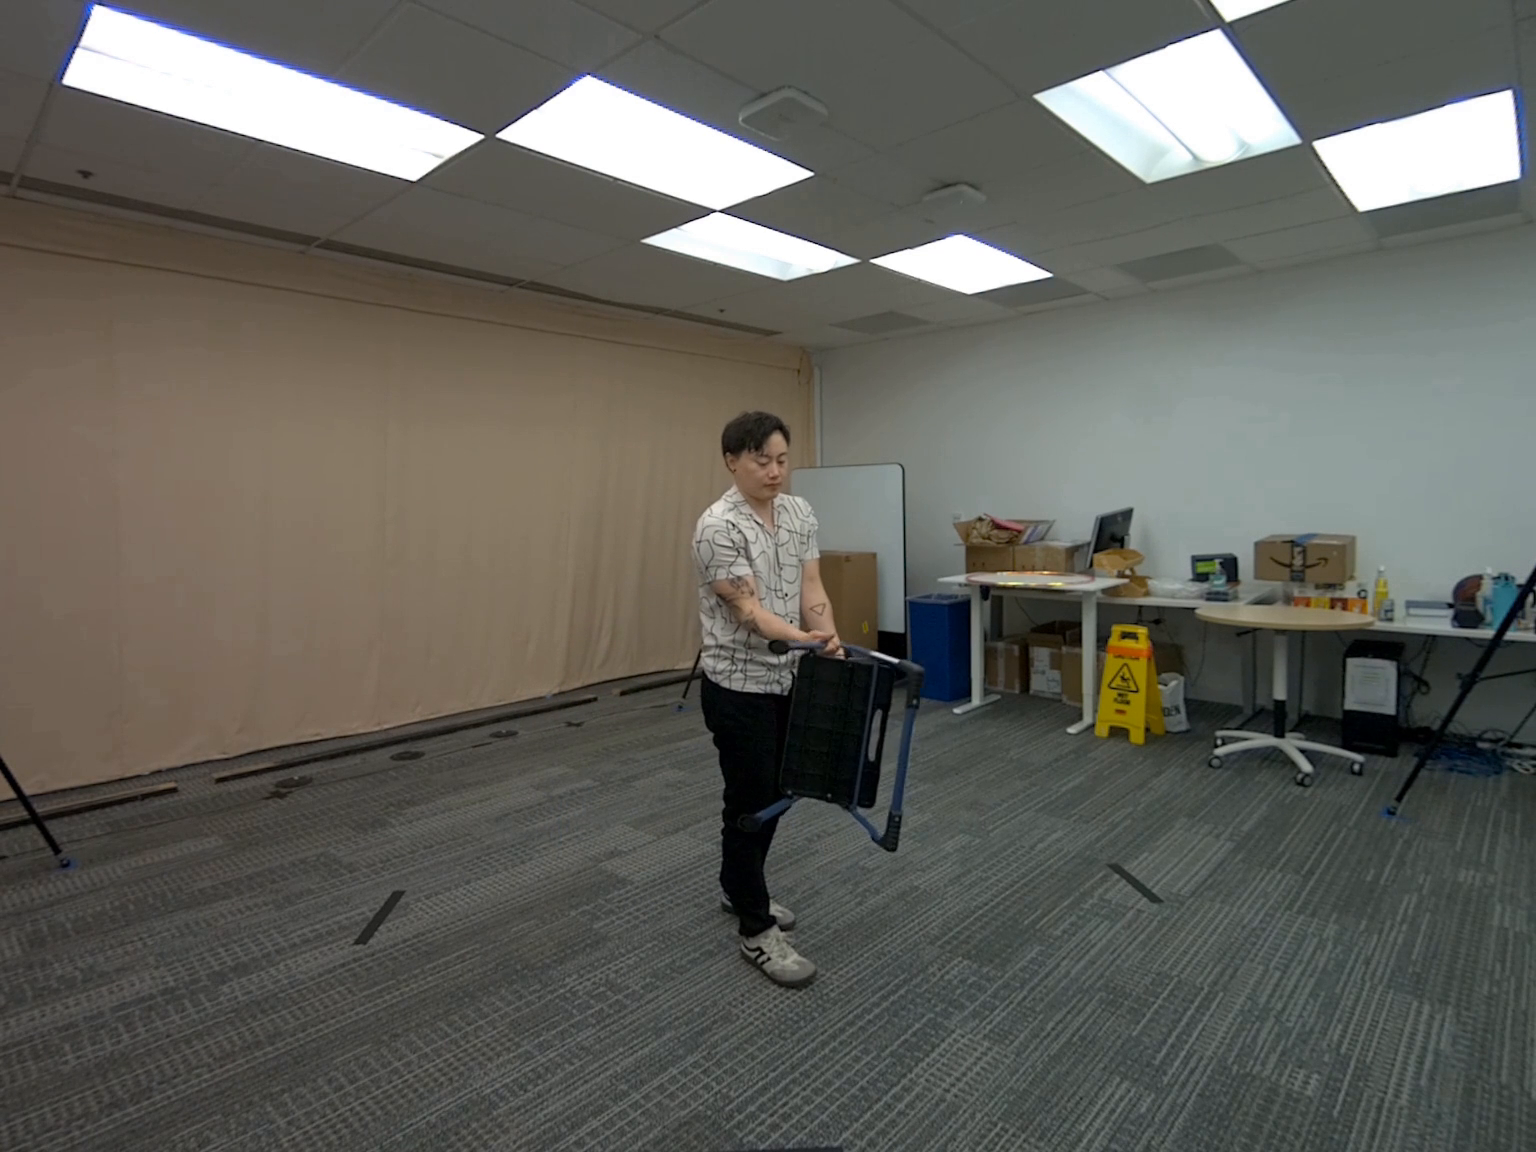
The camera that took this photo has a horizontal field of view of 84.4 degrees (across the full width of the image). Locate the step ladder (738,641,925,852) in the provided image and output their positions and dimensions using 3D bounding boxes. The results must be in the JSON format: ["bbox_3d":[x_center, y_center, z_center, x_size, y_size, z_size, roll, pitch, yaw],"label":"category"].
[{"bbox_3d":[0.148,0.380,2.157,0.349,0.431,0.605,9,-1,-1],"label":"step ladder"}]
